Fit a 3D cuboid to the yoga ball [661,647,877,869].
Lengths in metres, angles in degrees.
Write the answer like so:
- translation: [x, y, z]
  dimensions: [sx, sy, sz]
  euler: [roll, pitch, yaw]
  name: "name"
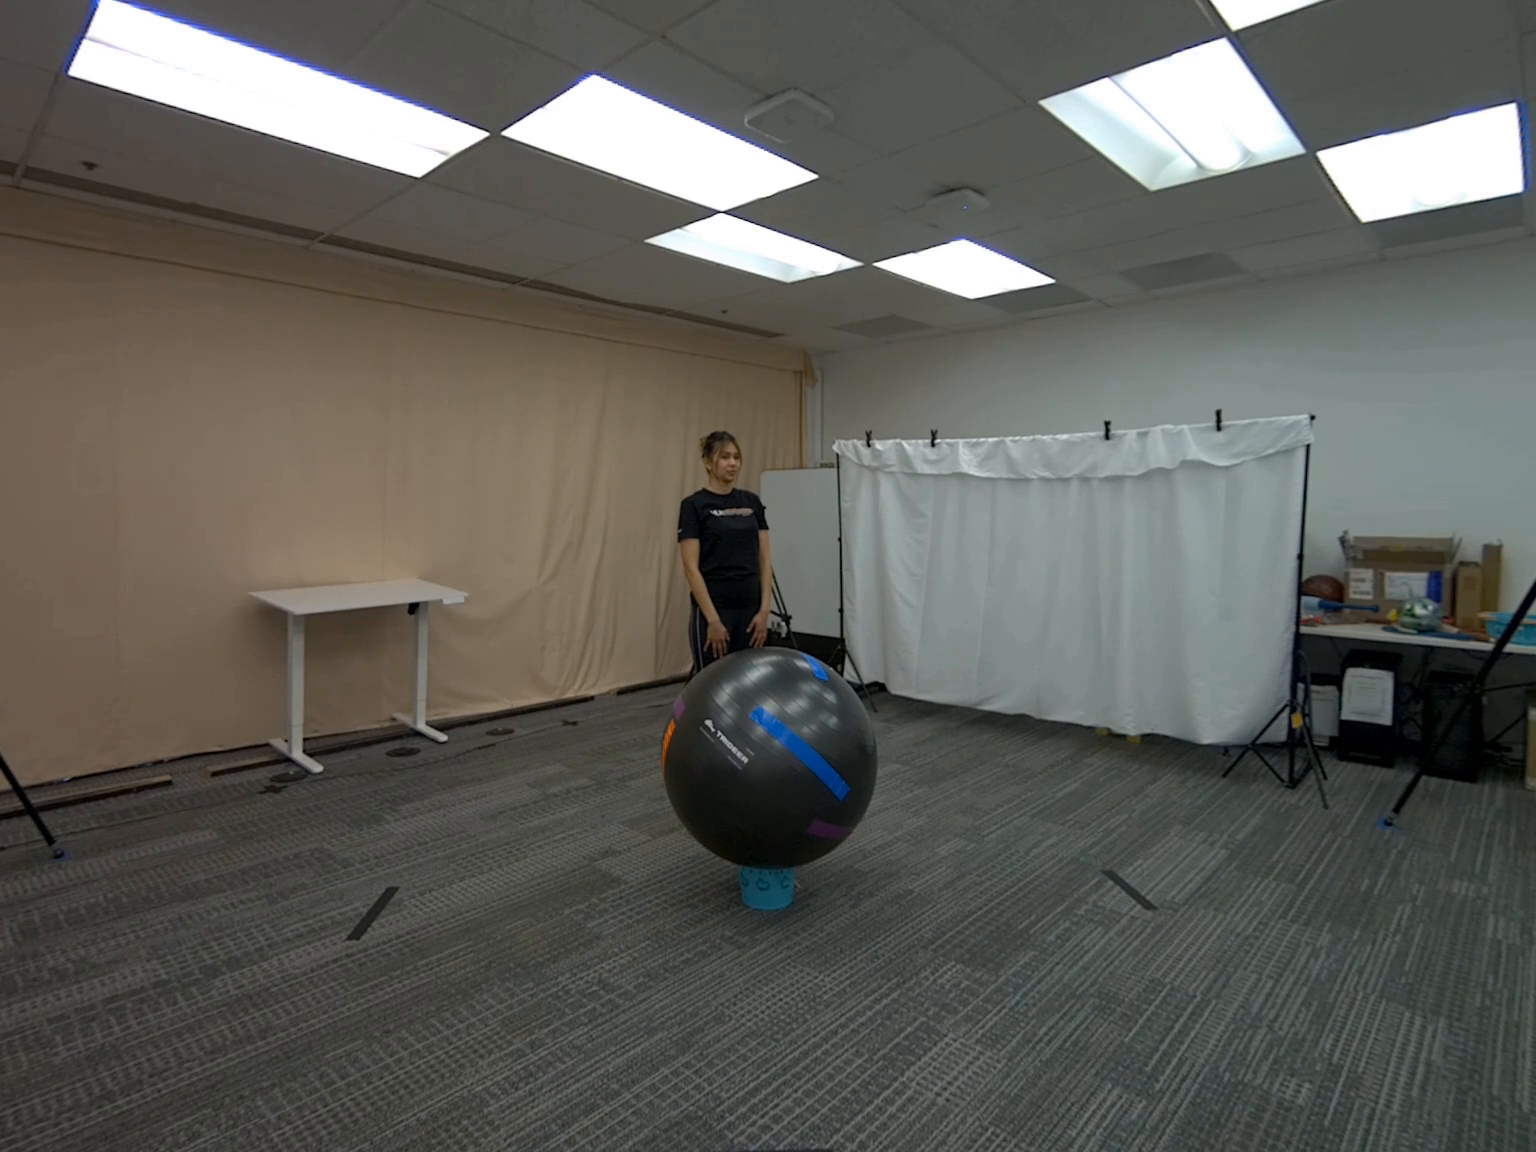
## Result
- translation: [0.007, 0.635, 2.963]
  dimensions: [0.757, 0.756, 0.760]
  euler: [0, 4, -2]
  name: "yoga ball"
